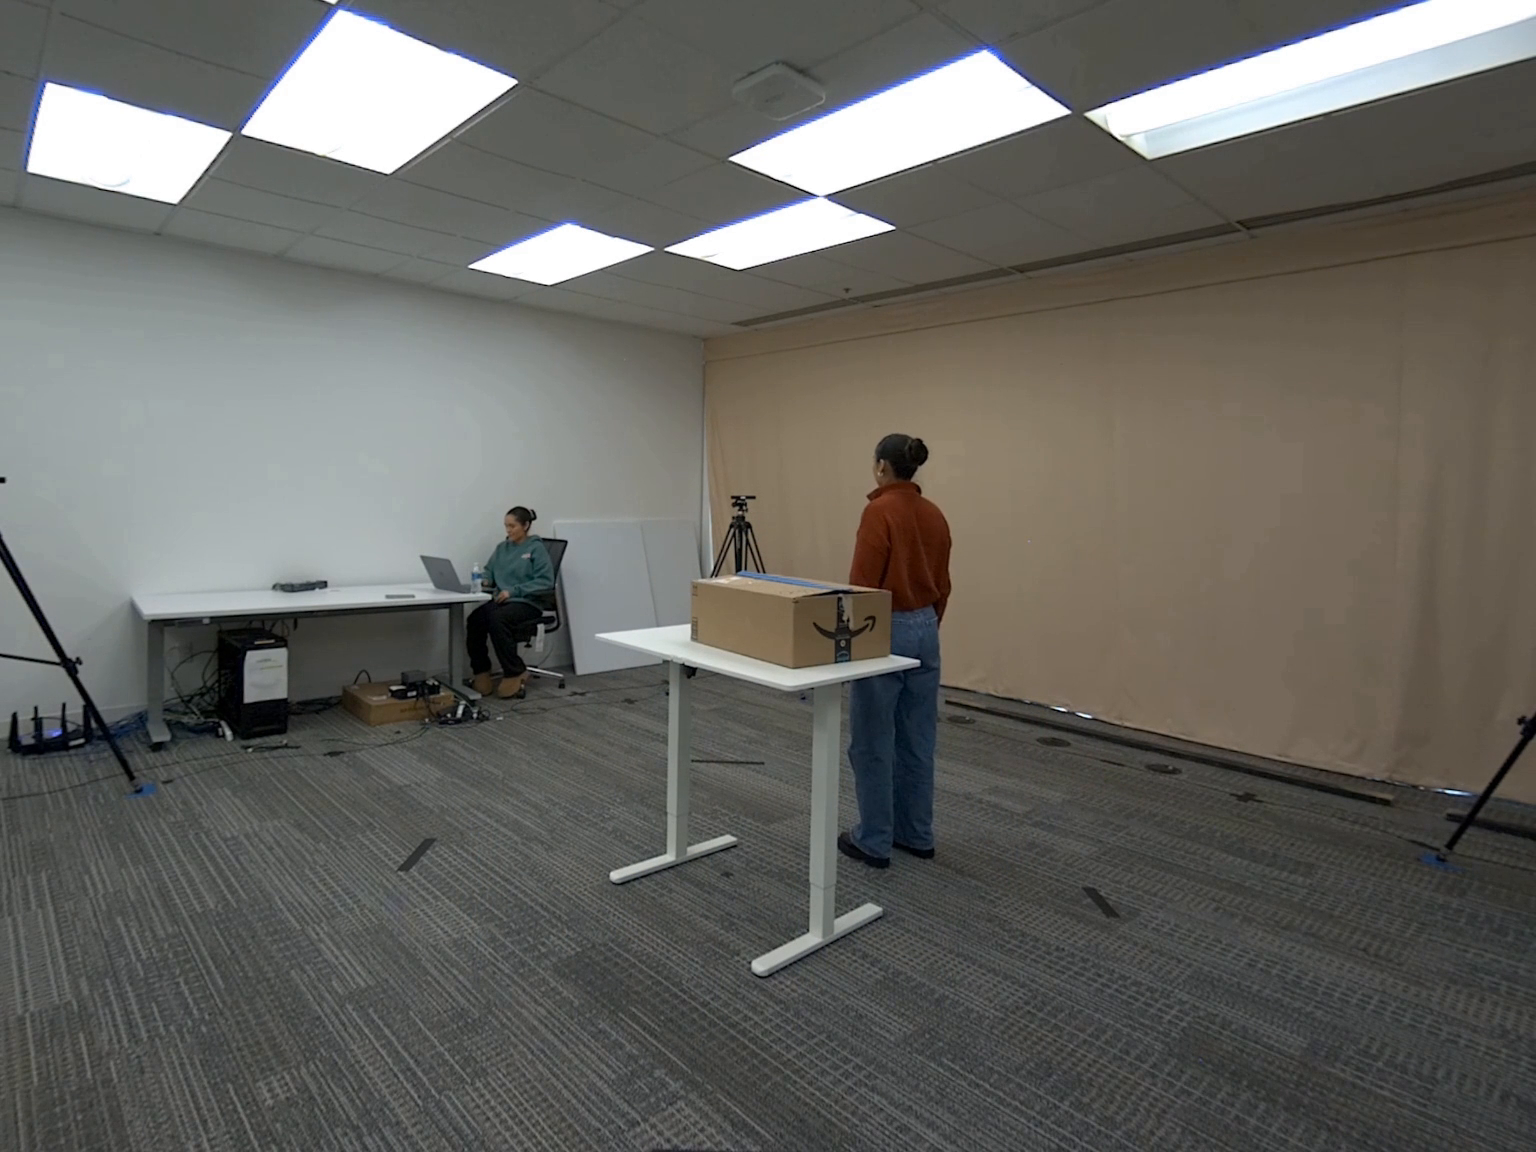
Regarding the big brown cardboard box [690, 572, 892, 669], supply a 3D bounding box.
[{"bbox_3d":[0.060,0.138,2.863,0.408,0.232,0.604,-3,8,-38],"label":"big brown cardboard box"}]
